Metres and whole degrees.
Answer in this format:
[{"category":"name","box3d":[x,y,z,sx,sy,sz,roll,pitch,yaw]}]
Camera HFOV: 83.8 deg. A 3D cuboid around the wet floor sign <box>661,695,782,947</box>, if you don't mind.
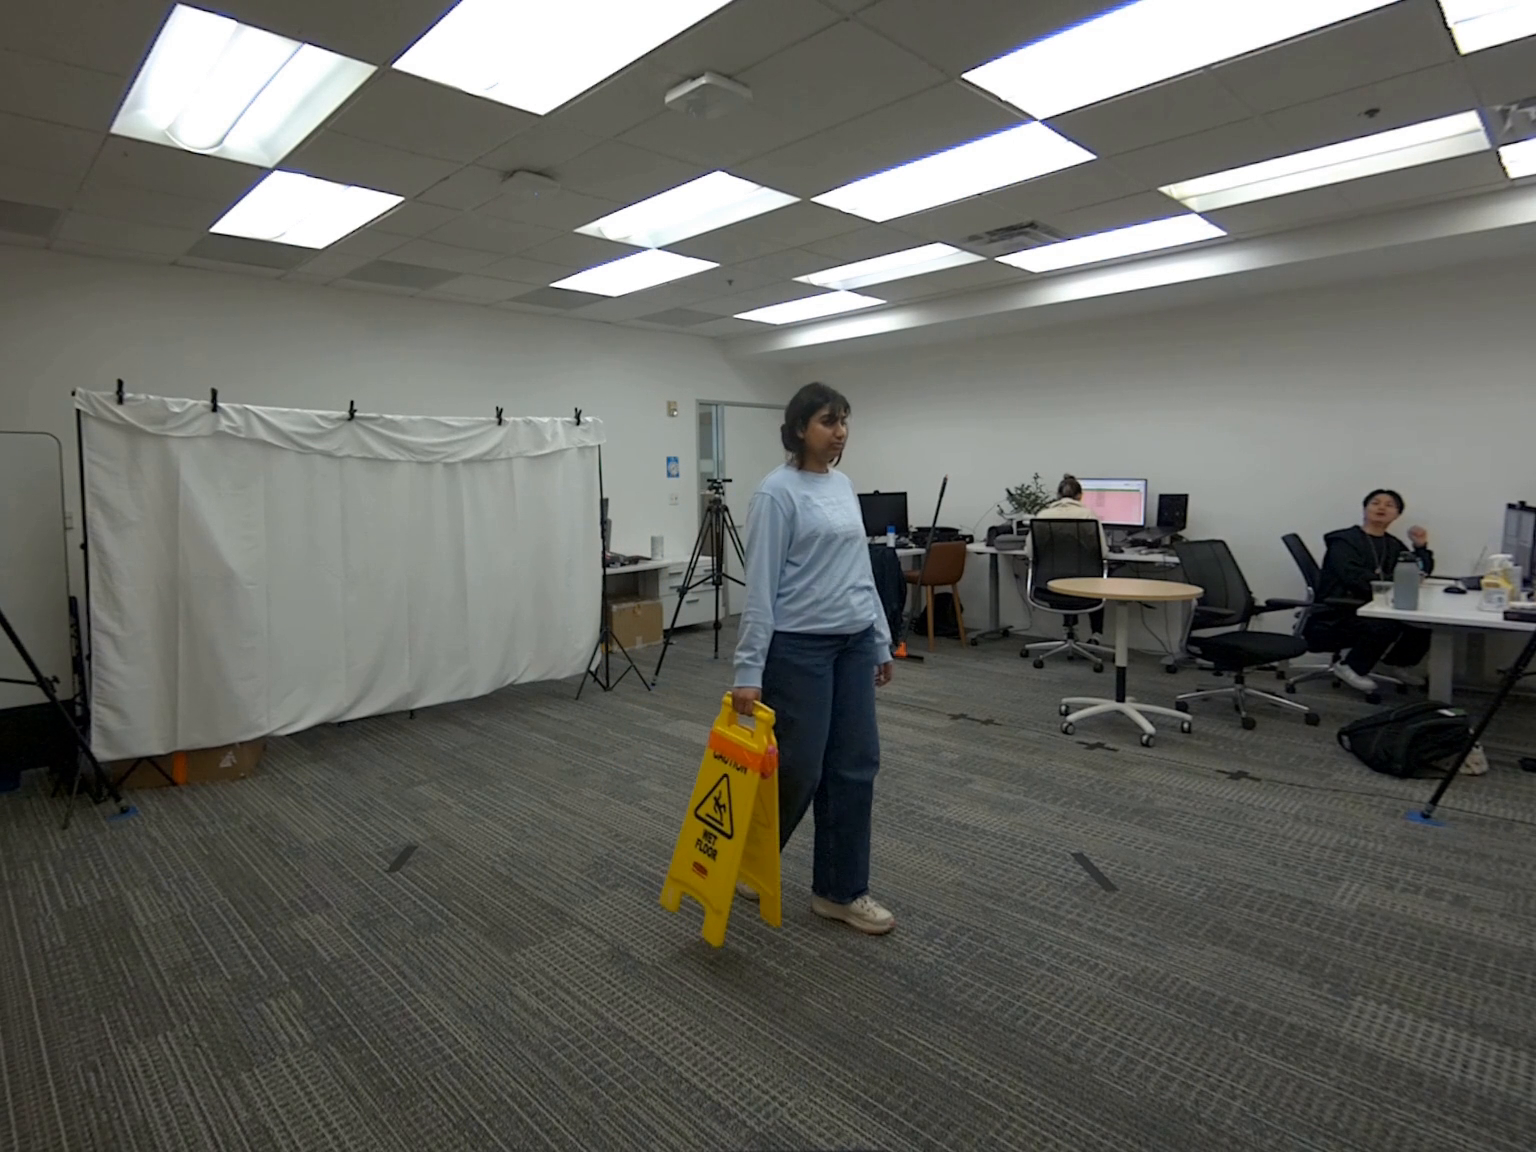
[{"category":"wet floor sign","box3d":[-0.091,0.679,2.501,0.281,0.644,0.292,5,5,-43]}]
